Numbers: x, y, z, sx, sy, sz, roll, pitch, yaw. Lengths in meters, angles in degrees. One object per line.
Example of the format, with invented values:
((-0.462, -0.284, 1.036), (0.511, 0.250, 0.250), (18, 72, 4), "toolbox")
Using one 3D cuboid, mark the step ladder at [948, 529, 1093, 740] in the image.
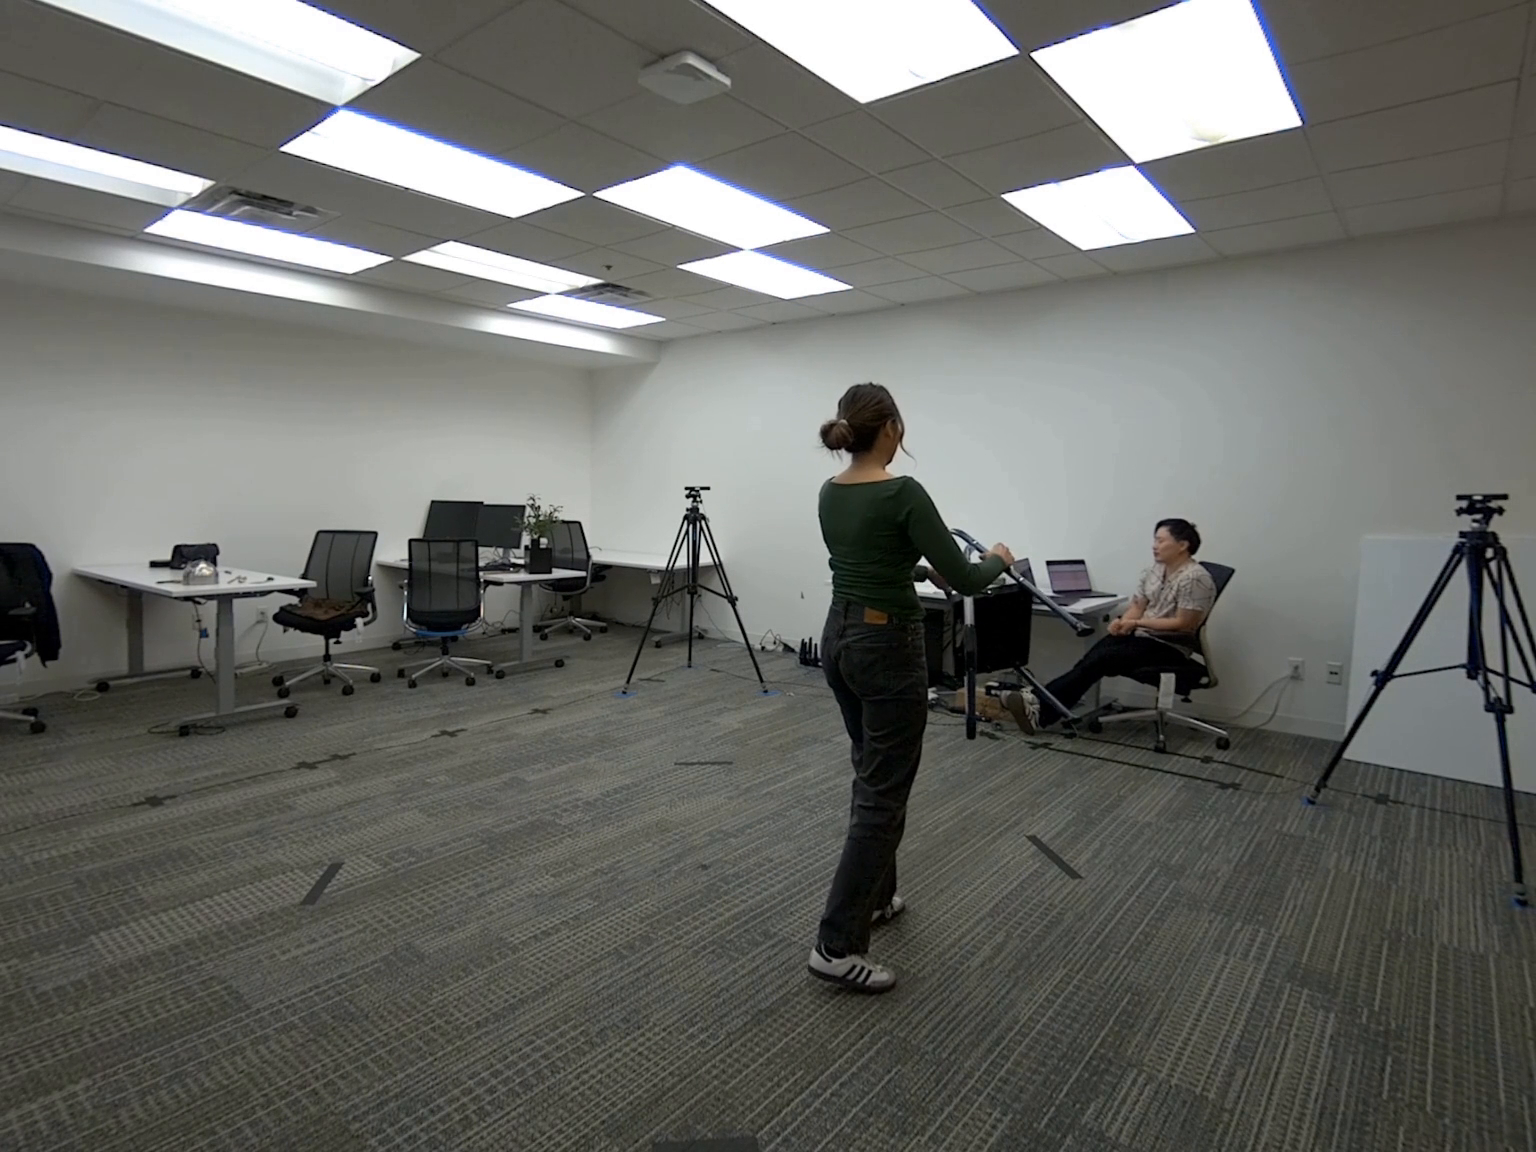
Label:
((0.712, 0.128, 2.710), (0.350, 0.416, 0.626), (-10, 41, 1), "step ladder")
